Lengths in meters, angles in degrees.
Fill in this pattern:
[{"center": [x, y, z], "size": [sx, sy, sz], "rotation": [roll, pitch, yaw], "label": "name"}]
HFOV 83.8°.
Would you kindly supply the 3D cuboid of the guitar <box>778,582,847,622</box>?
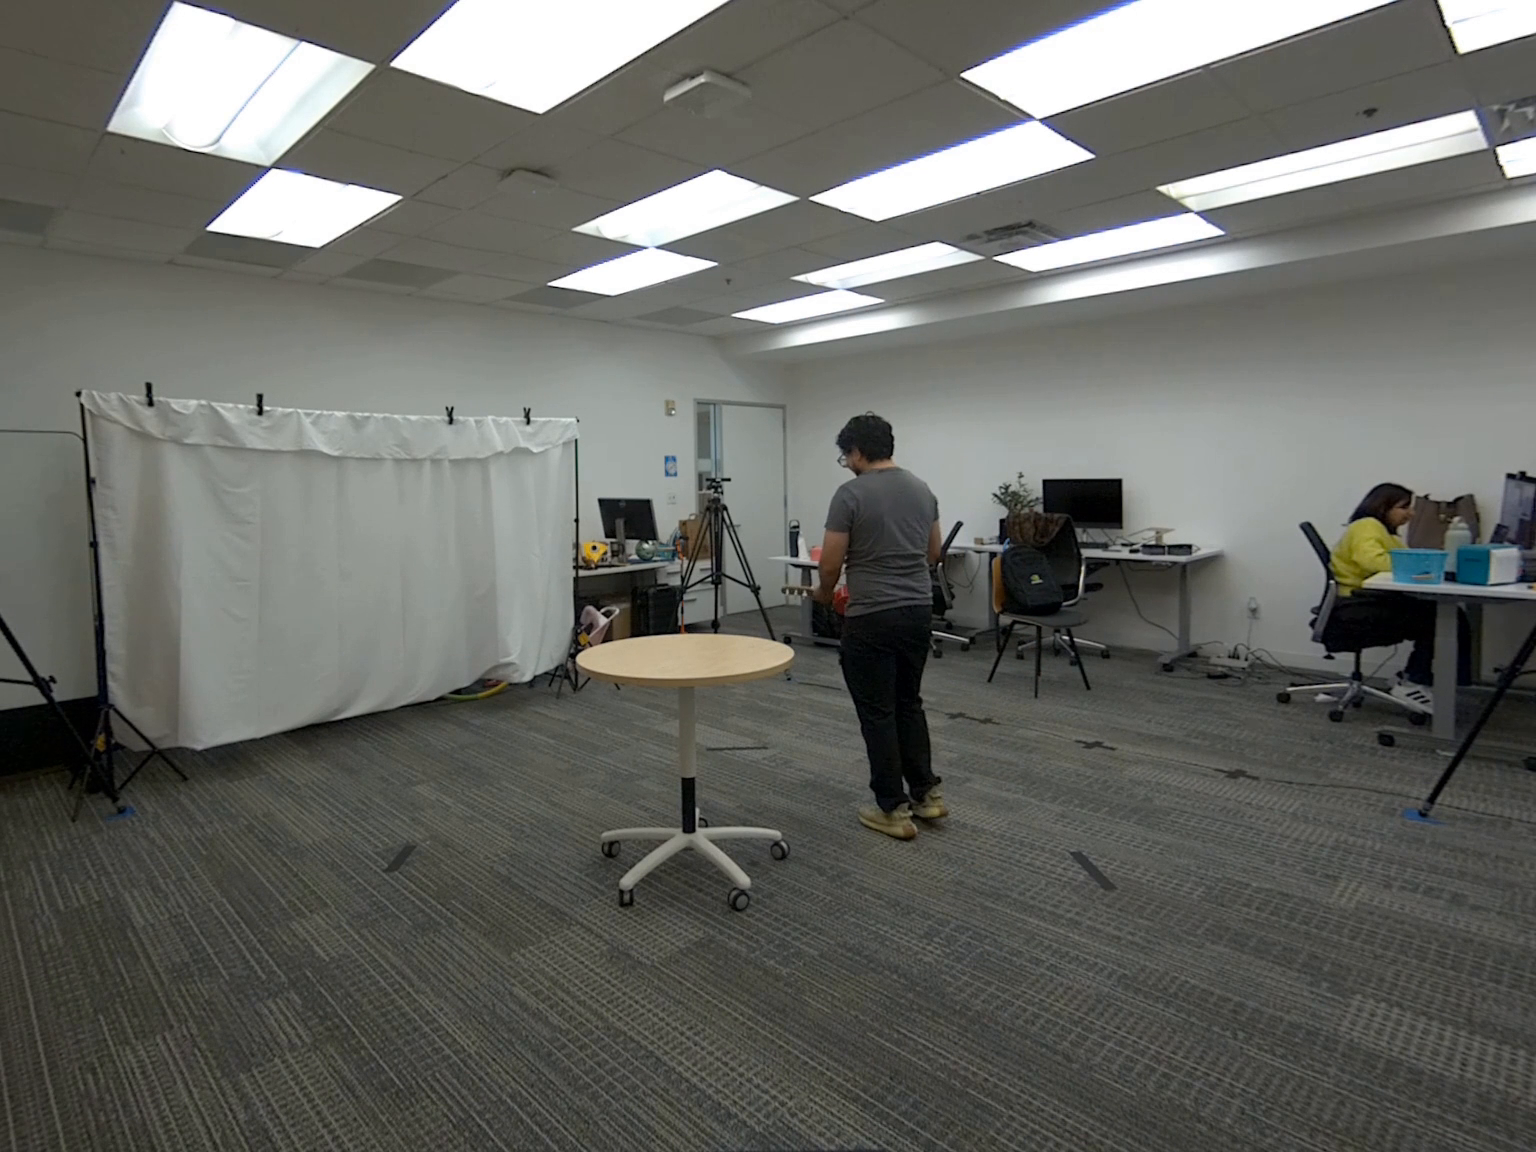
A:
[{"center": [0.298, 0.108, 3.647], "size": [0.501, 0.072, 0.187], "rotation": [-1, -36, 7], "label": "guitar"}]
